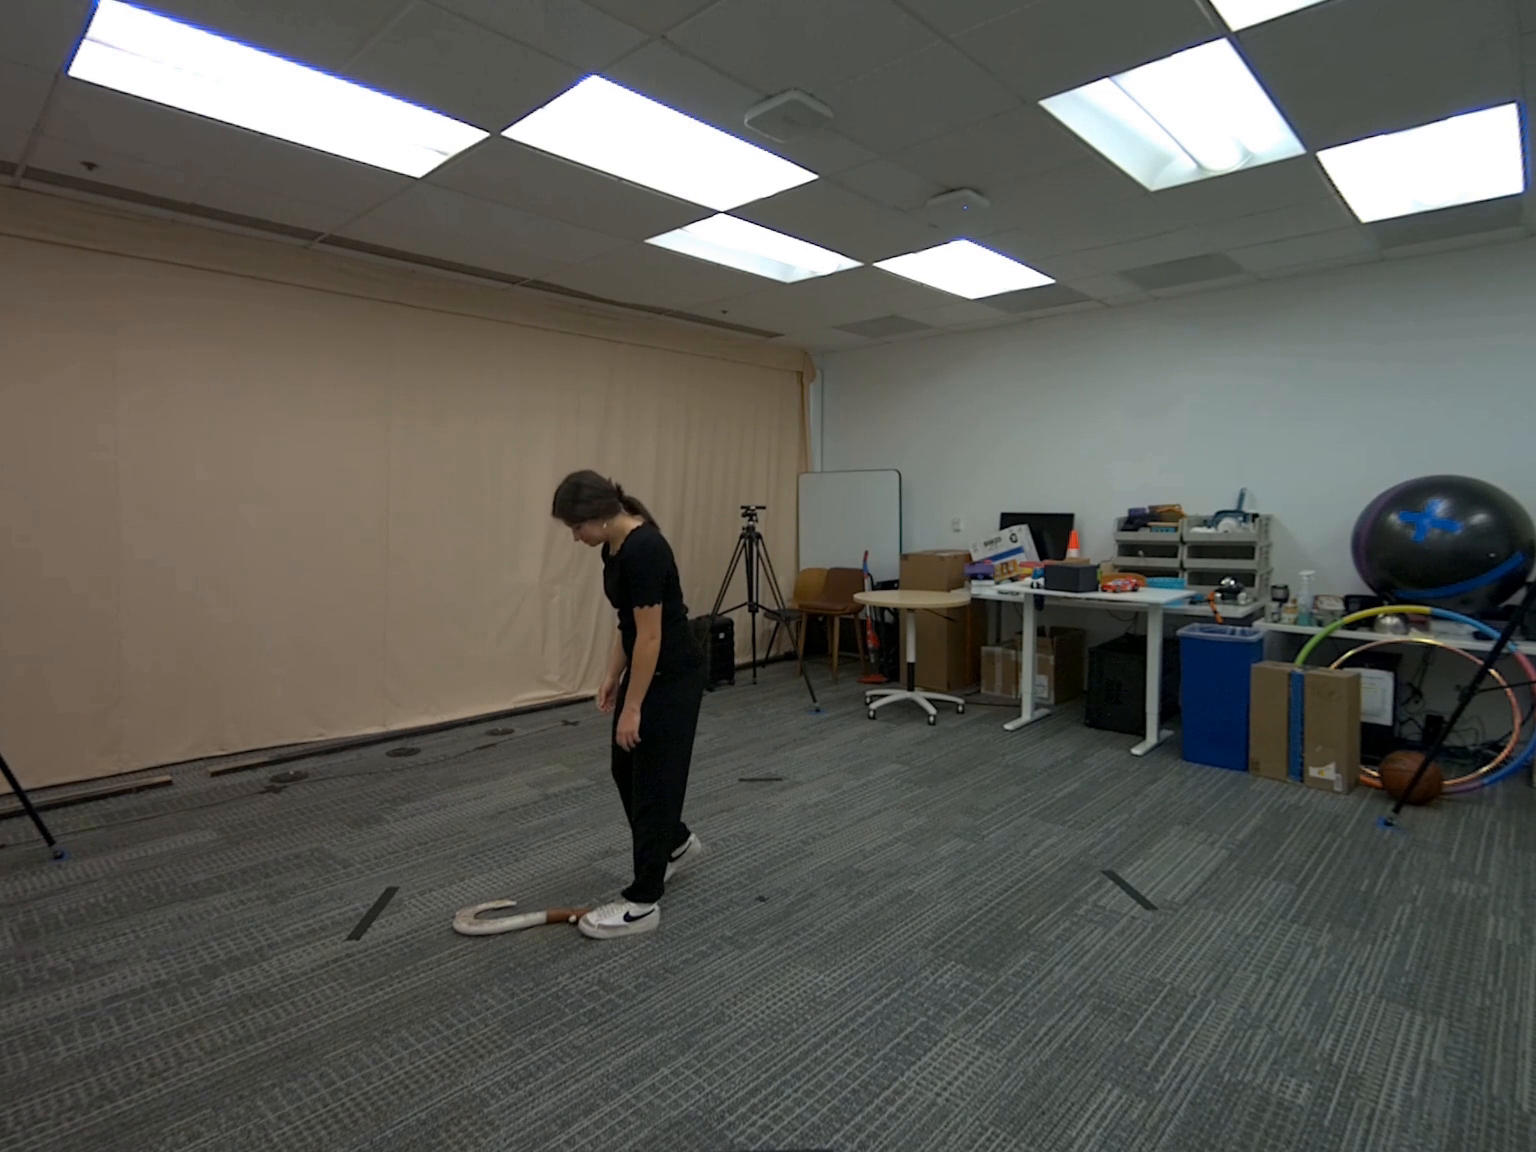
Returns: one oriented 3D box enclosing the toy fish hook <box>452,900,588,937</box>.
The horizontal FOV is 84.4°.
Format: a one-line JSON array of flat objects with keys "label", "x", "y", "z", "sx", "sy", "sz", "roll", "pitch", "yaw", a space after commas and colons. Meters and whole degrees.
[{"label": "toy fish hook", "x": -0.808, "y": 1.143, "z": 2.855, "sx": 0.502, "sy": 0.048, "sz": 0.227, "roll": -1, "pitch": 6, "yaw": -9}]
